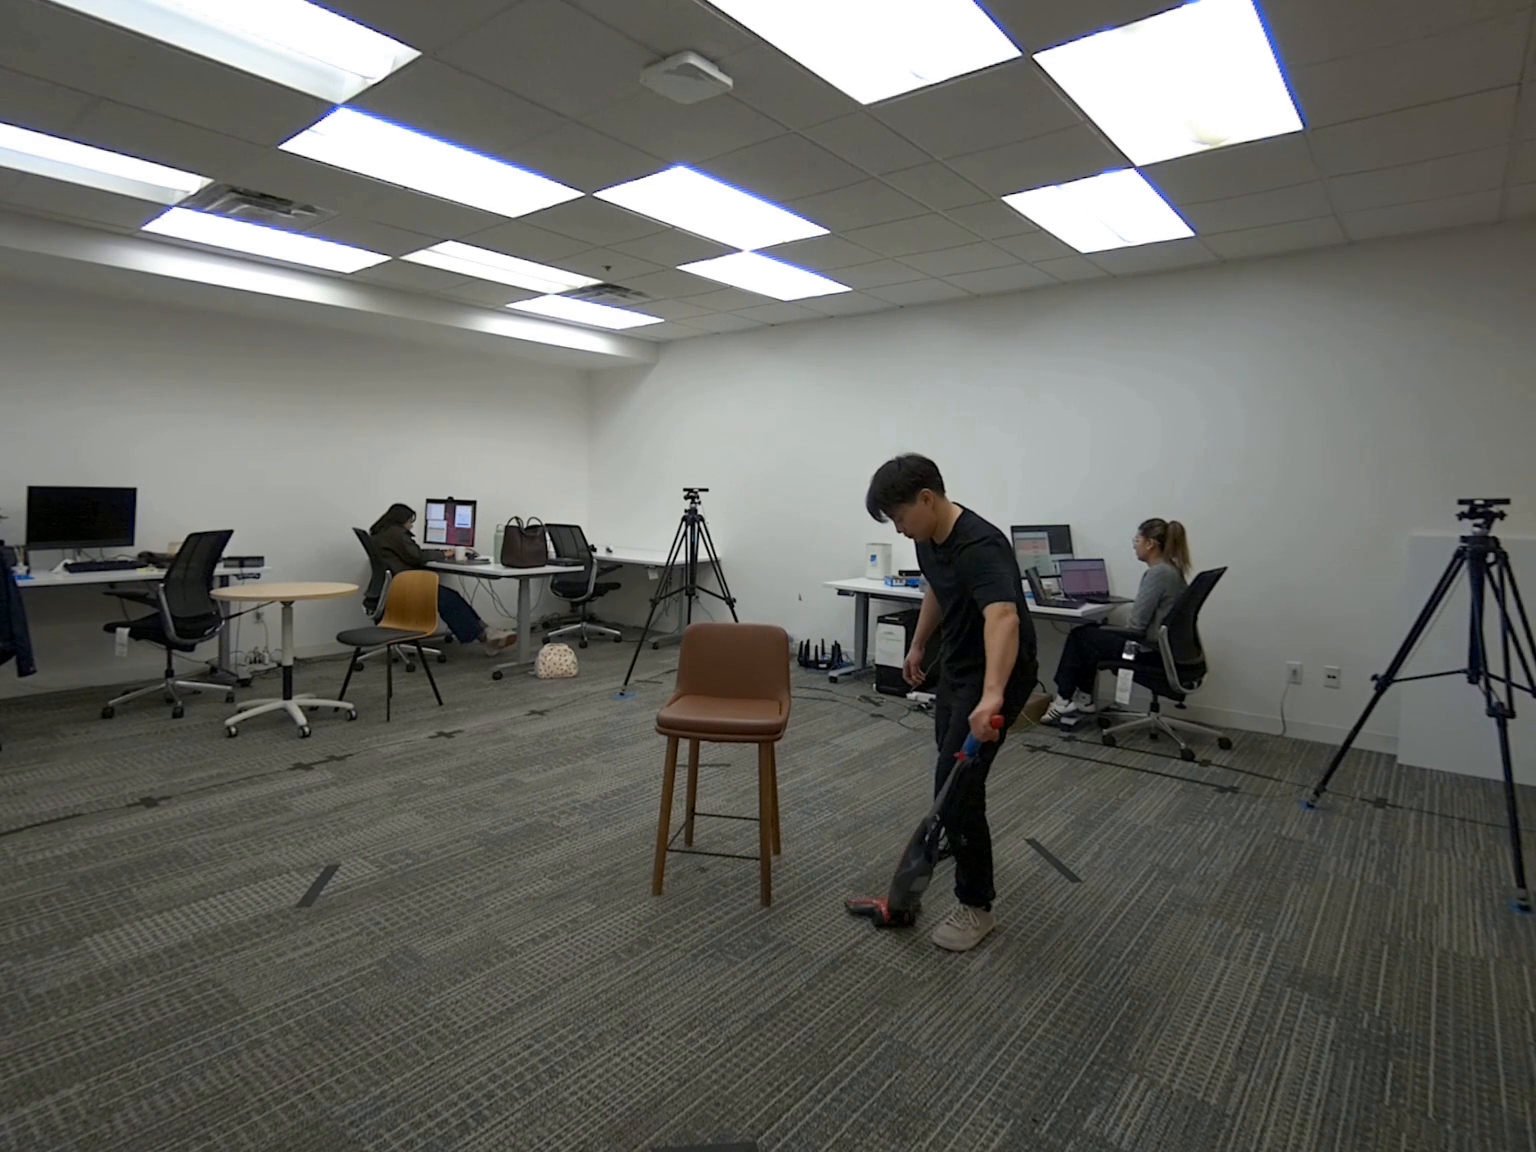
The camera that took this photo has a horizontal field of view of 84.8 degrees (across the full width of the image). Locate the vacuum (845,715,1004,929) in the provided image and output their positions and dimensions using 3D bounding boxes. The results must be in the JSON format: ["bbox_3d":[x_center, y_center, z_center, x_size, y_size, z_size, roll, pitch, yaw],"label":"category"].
[{"bbox_3d":[0.477,0.736,2.454,0.248,1.026,0.149,-4,46,-17],"label":"vacuum"}]
